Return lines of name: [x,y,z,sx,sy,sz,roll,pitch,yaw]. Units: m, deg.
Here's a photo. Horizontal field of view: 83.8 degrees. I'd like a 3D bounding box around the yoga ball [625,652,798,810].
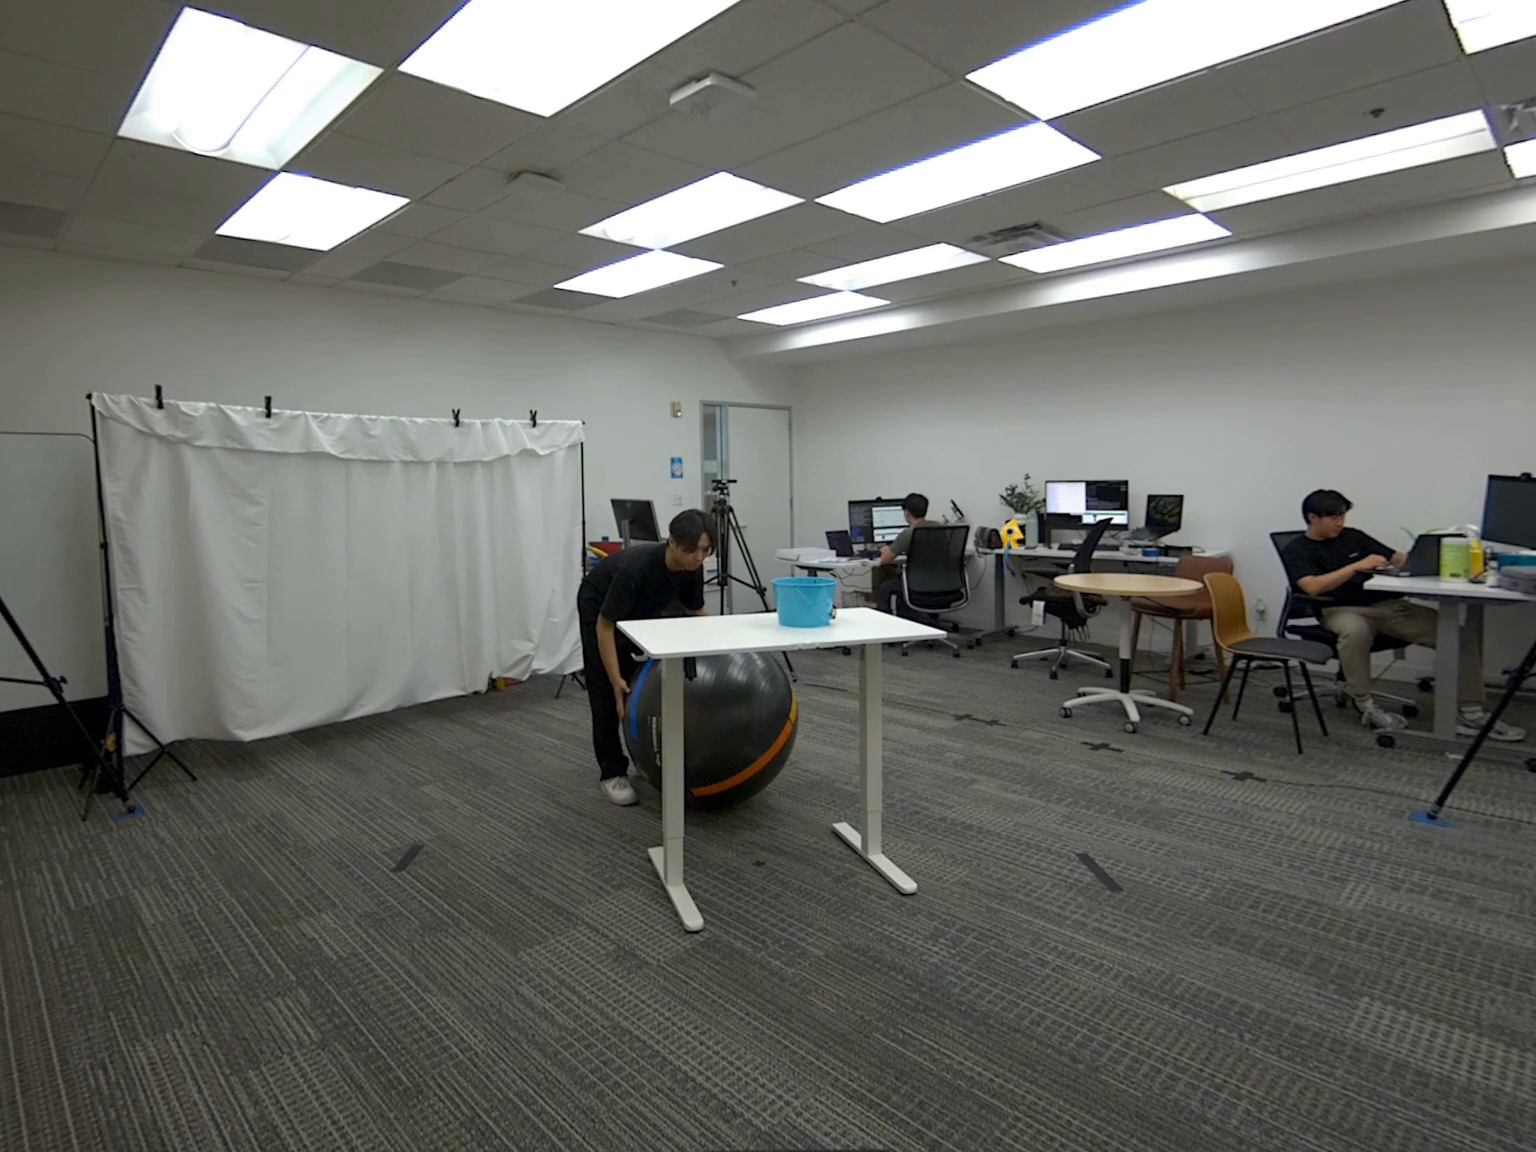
yoga ball: [-0.250,0.617,3.720,0.757,0.755,0.762,-1,5,-2]
